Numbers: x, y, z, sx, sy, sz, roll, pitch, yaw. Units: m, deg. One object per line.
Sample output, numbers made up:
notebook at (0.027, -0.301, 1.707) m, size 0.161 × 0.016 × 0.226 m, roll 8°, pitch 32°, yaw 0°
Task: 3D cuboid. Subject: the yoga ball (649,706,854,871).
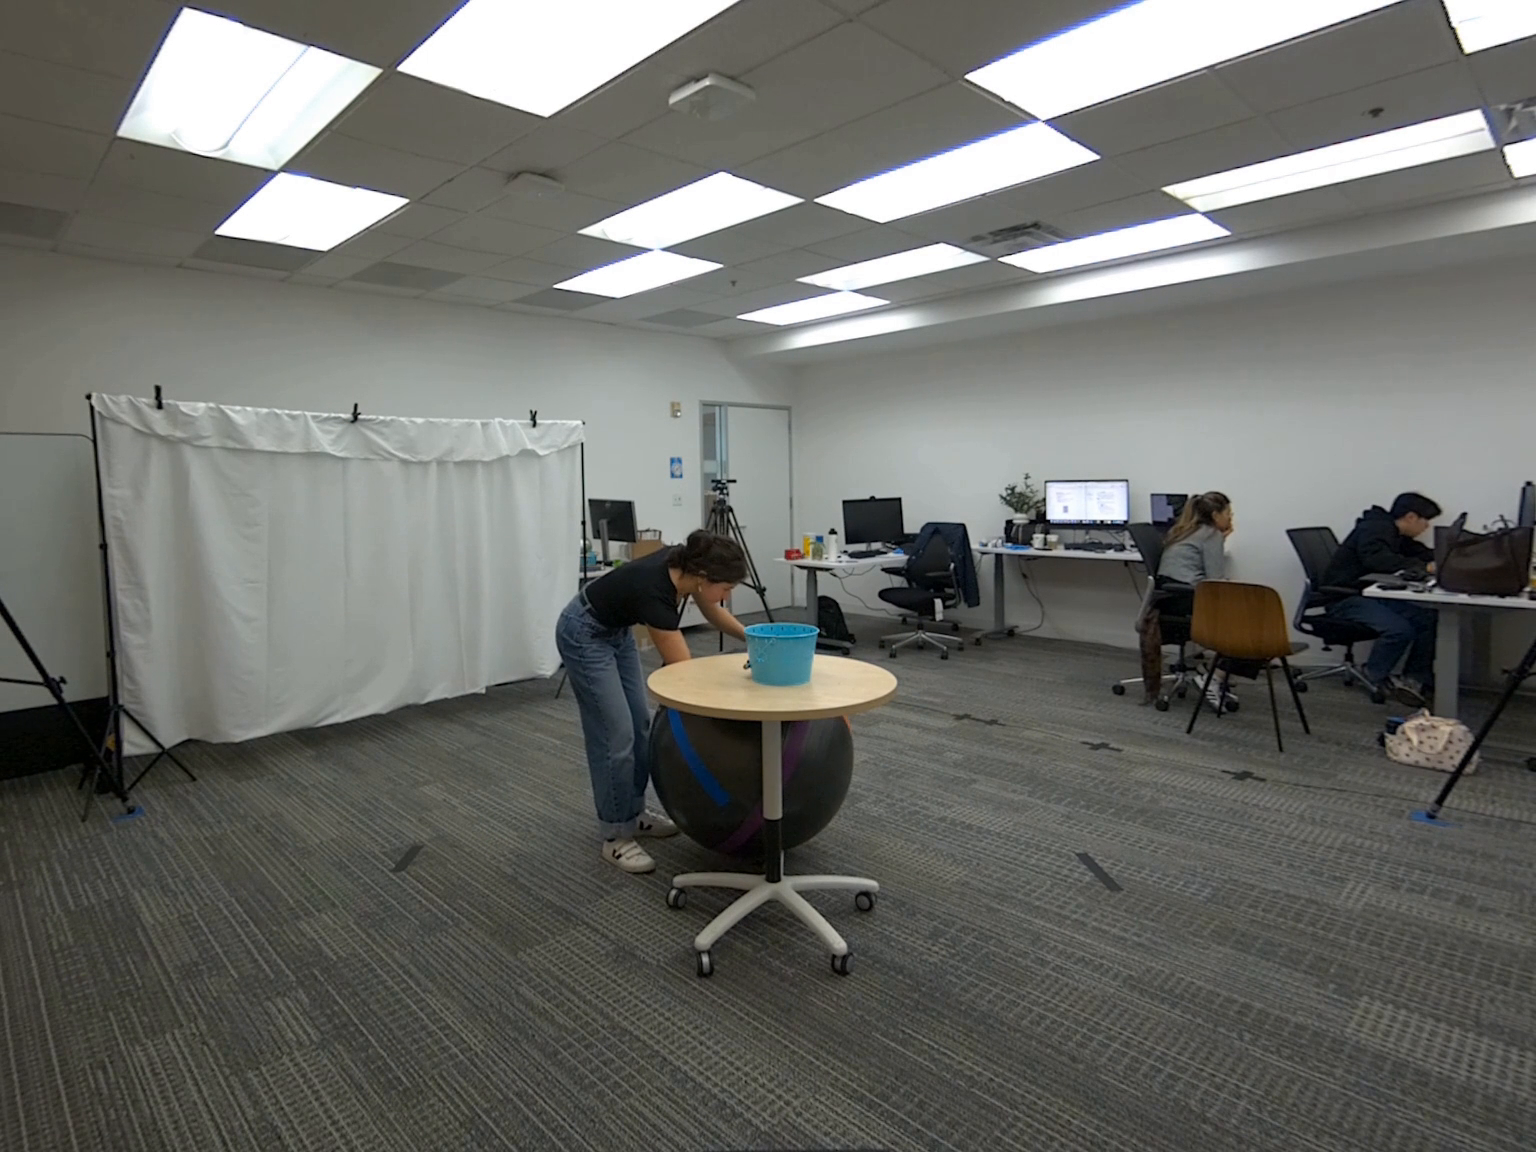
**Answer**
yoga ball at (-0.055, 0.650, 3.178) m, size 0.757 × 0.755 × 0.762 m, roll -1°, pitch 5°, yaw -2°
